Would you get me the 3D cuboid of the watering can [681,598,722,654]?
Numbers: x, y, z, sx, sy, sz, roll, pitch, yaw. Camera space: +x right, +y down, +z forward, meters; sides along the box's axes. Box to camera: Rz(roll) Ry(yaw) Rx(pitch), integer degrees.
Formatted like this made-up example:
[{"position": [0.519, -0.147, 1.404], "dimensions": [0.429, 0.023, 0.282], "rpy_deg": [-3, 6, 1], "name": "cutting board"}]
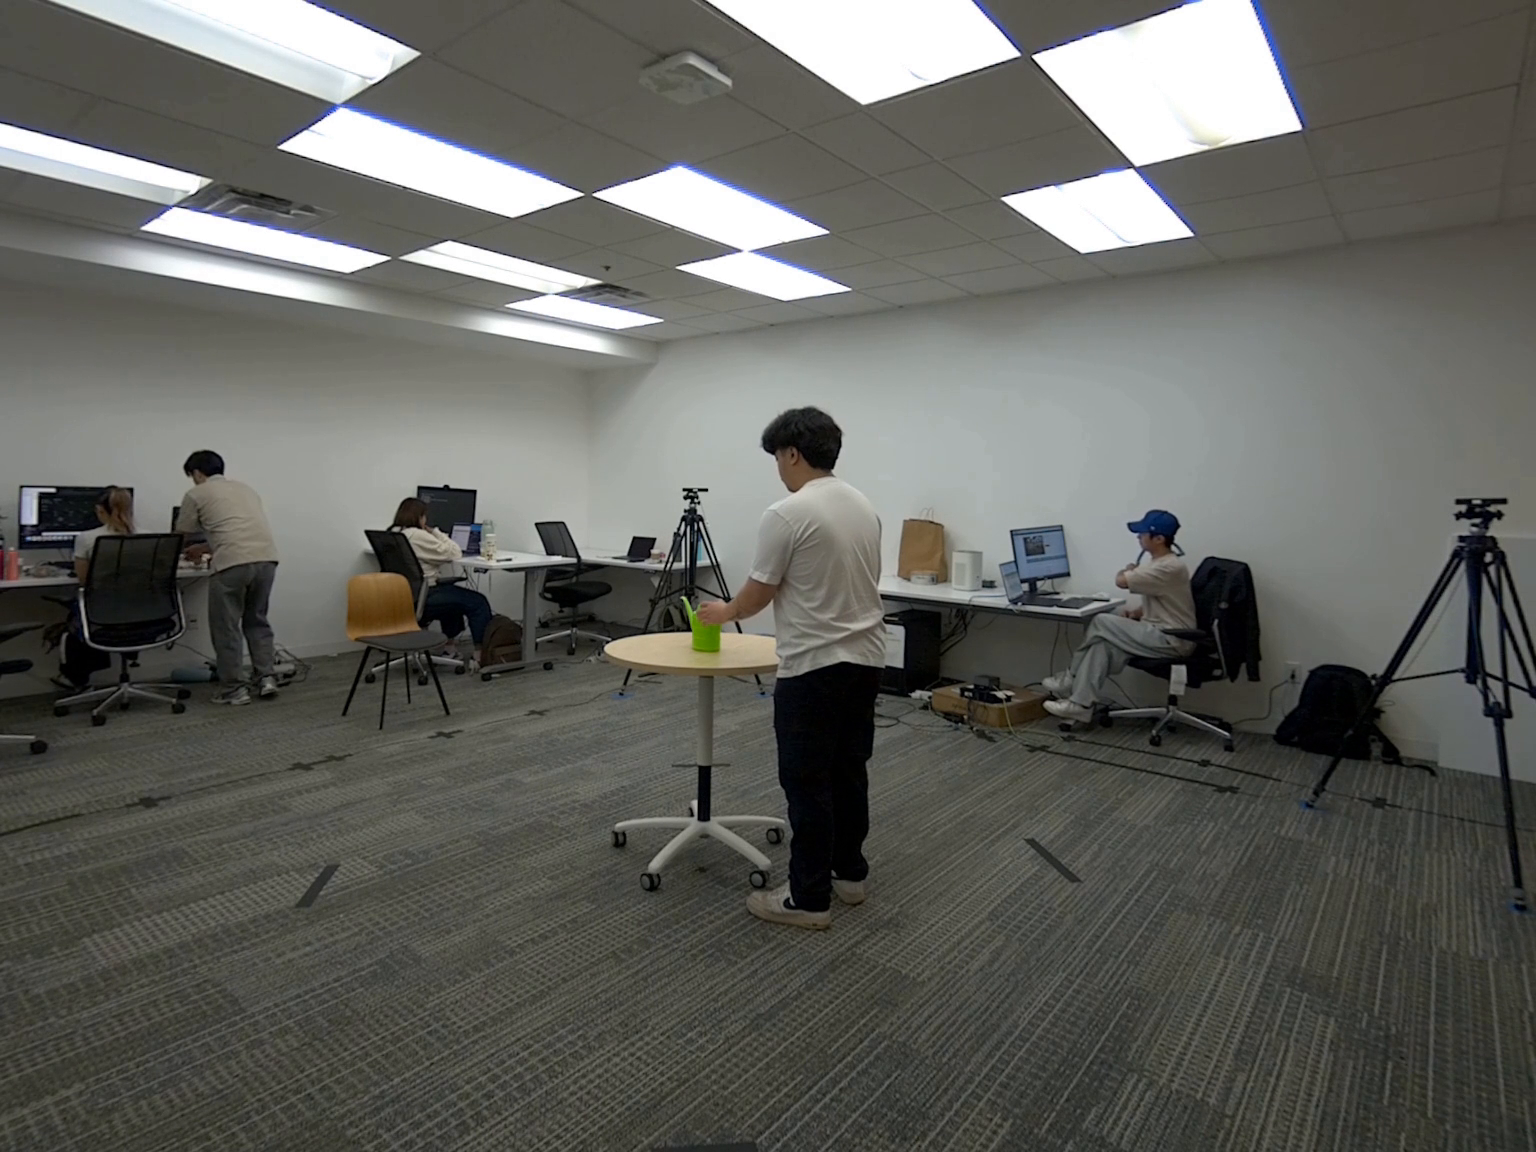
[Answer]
[{"position": [-0.258, 0.179, 3.206], "dimensions": [0.096, 0.176, 0.285], "rpy_deg": [0, 6, -19], "name": "watering can"}]
